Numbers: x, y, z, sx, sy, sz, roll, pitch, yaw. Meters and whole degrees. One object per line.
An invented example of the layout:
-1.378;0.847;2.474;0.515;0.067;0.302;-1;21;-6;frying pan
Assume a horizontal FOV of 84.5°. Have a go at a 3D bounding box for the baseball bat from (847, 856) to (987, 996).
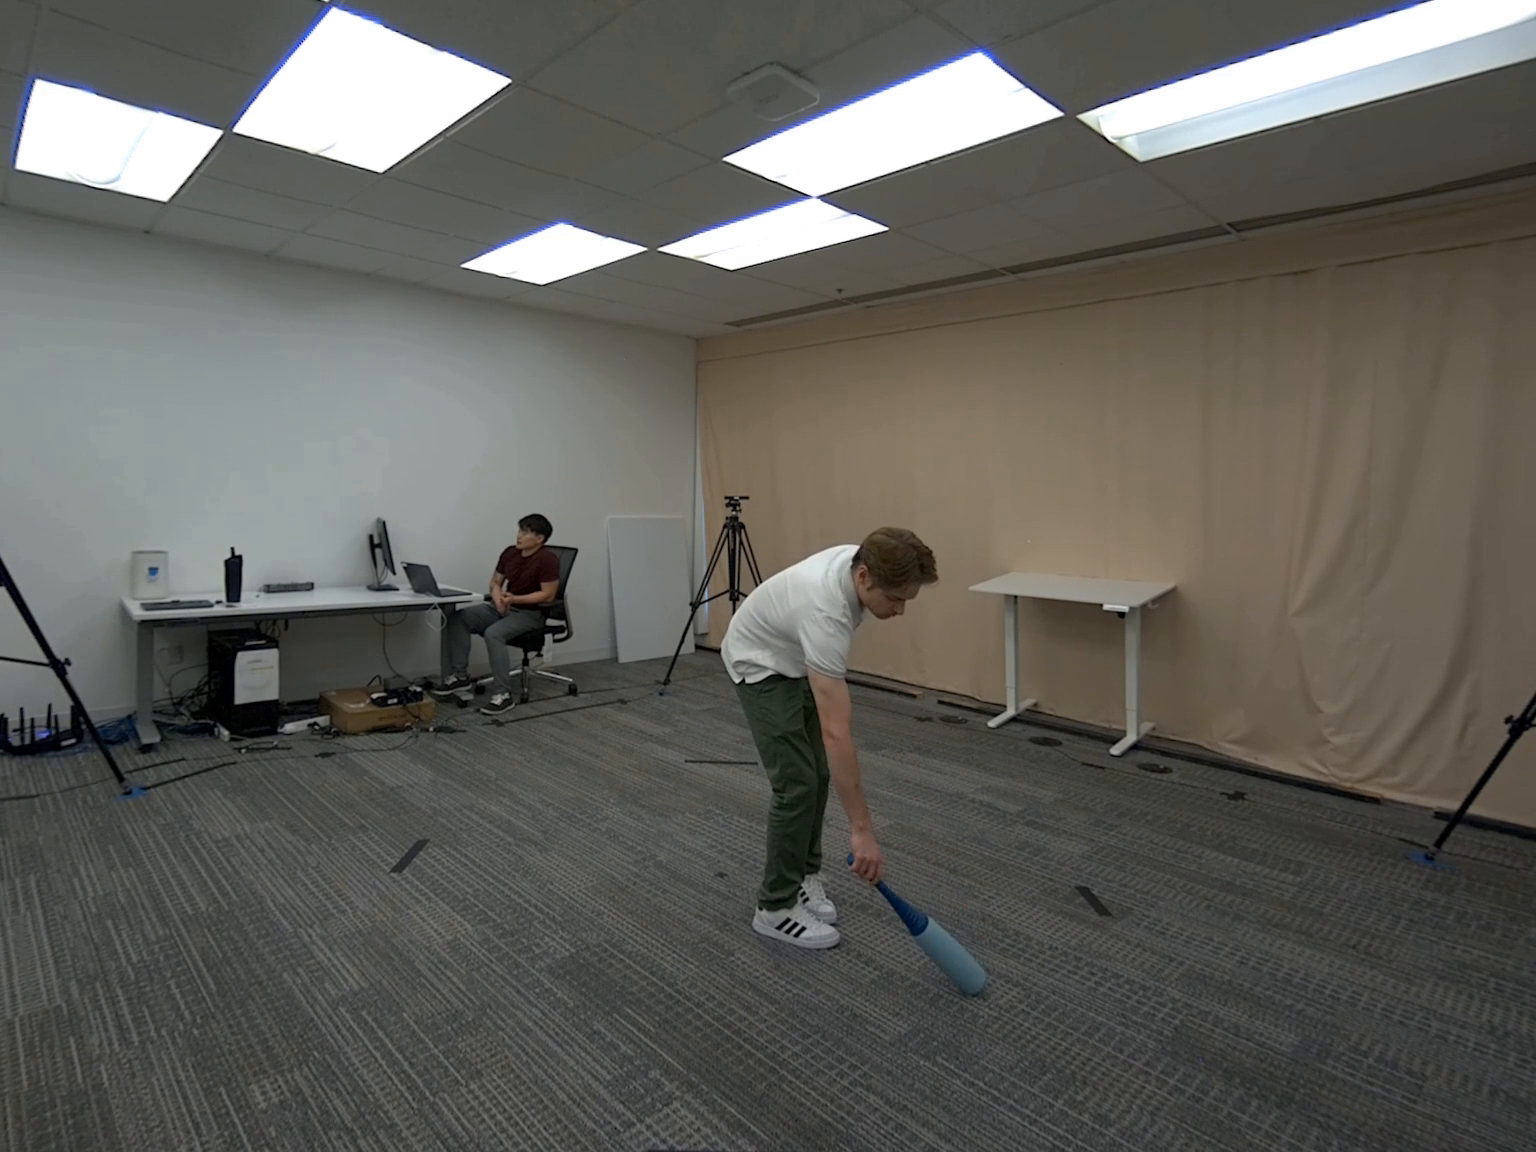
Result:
0.407;0.977;2.374;0.089;0.538;0.090;-43;8;7;baseball bat
